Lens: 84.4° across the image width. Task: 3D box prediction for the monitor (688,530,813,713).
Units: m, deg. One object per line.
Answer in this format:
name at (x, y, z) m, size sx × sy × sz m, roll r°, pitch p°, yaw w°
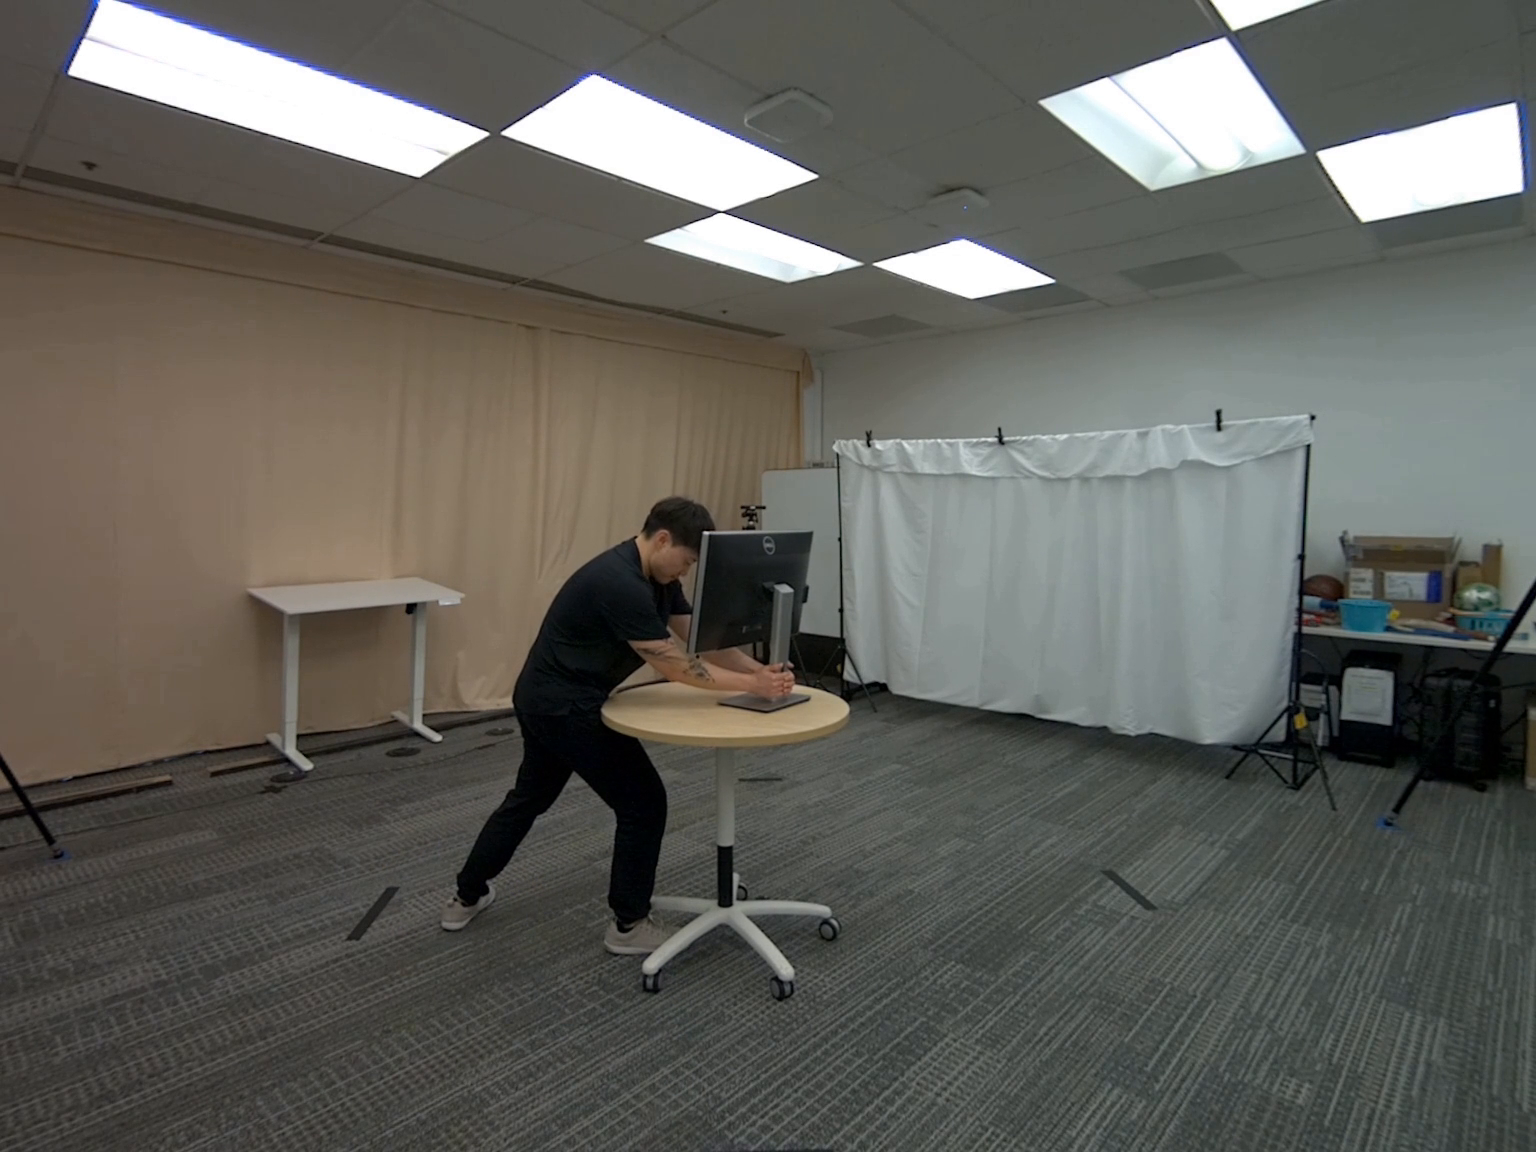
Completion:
monitor at (-0.008, 0.134, 2.629) m, size 0.193 × 0.521 × 0.524 m, roll 0°, pitch 4°, yaw 35°
